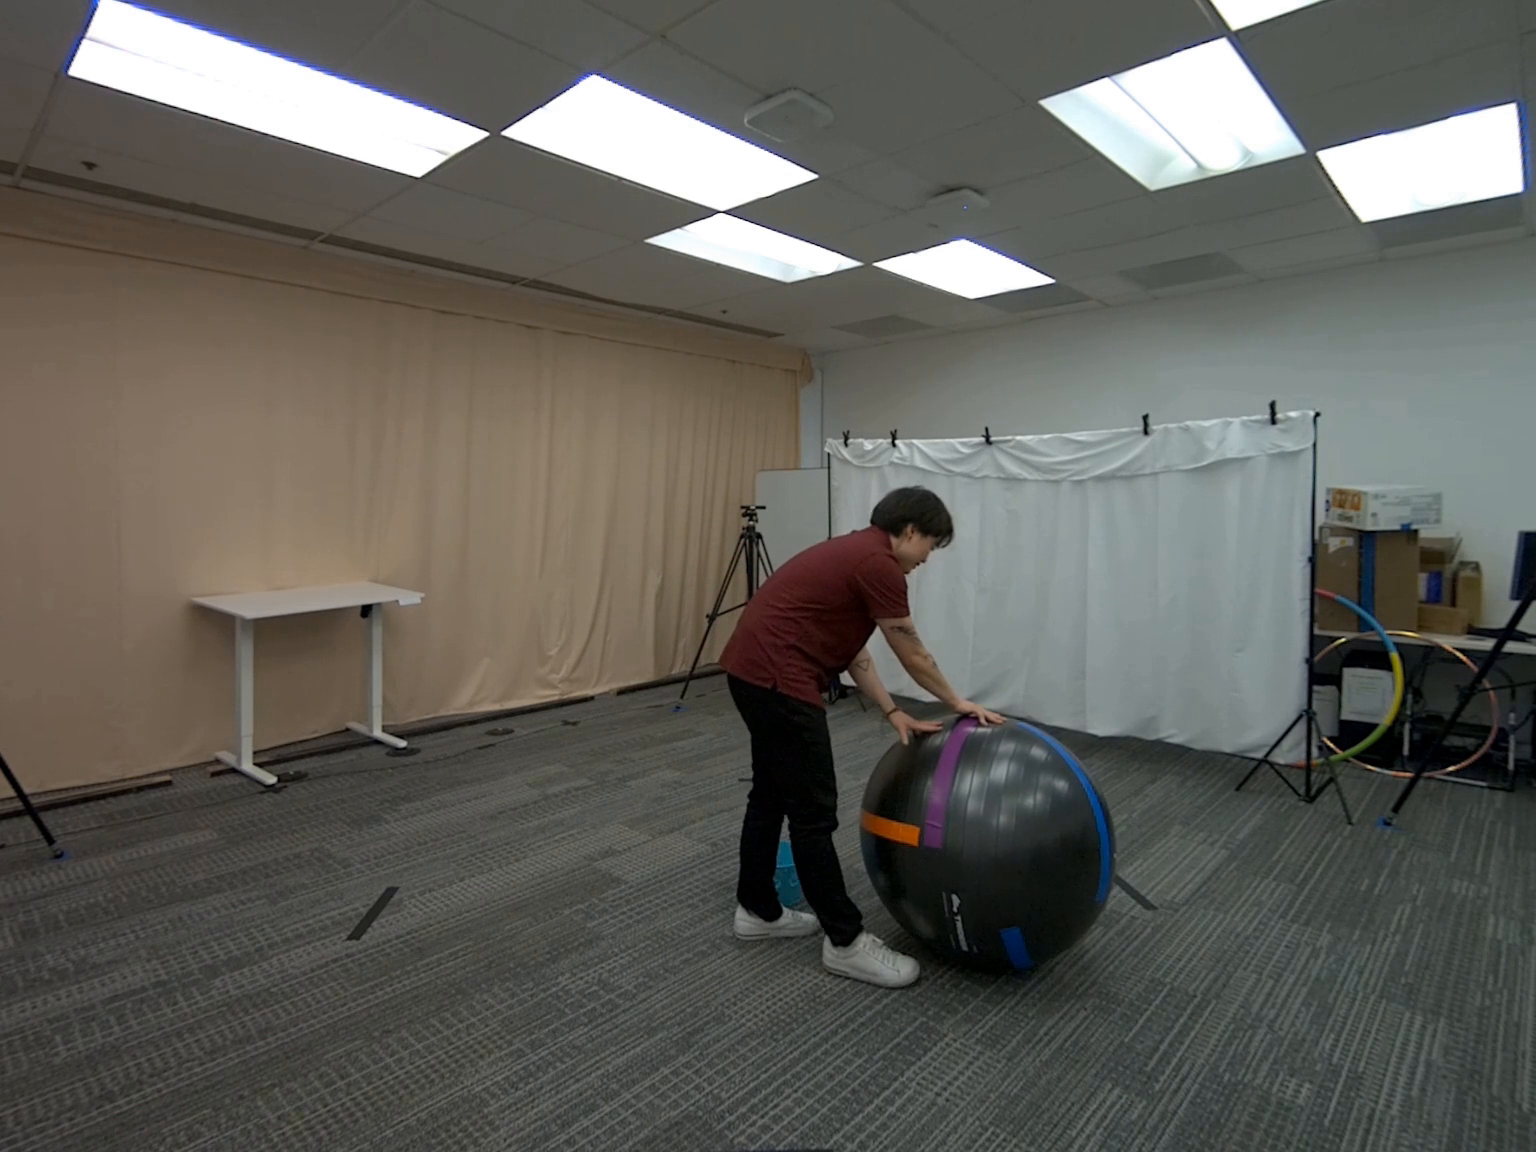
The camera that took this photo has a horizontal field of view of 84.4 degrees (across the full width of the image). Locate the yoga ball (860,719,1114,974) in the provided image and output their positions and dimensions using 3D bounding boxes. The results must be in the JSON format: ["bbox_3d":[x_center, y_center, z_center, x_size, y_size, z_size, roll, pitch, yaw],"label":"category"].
[{"bbox_3d":[0.681,0.816,2.627,0.757,0.756,0.760,0,4,-2],"label":"yoga ball"}]
